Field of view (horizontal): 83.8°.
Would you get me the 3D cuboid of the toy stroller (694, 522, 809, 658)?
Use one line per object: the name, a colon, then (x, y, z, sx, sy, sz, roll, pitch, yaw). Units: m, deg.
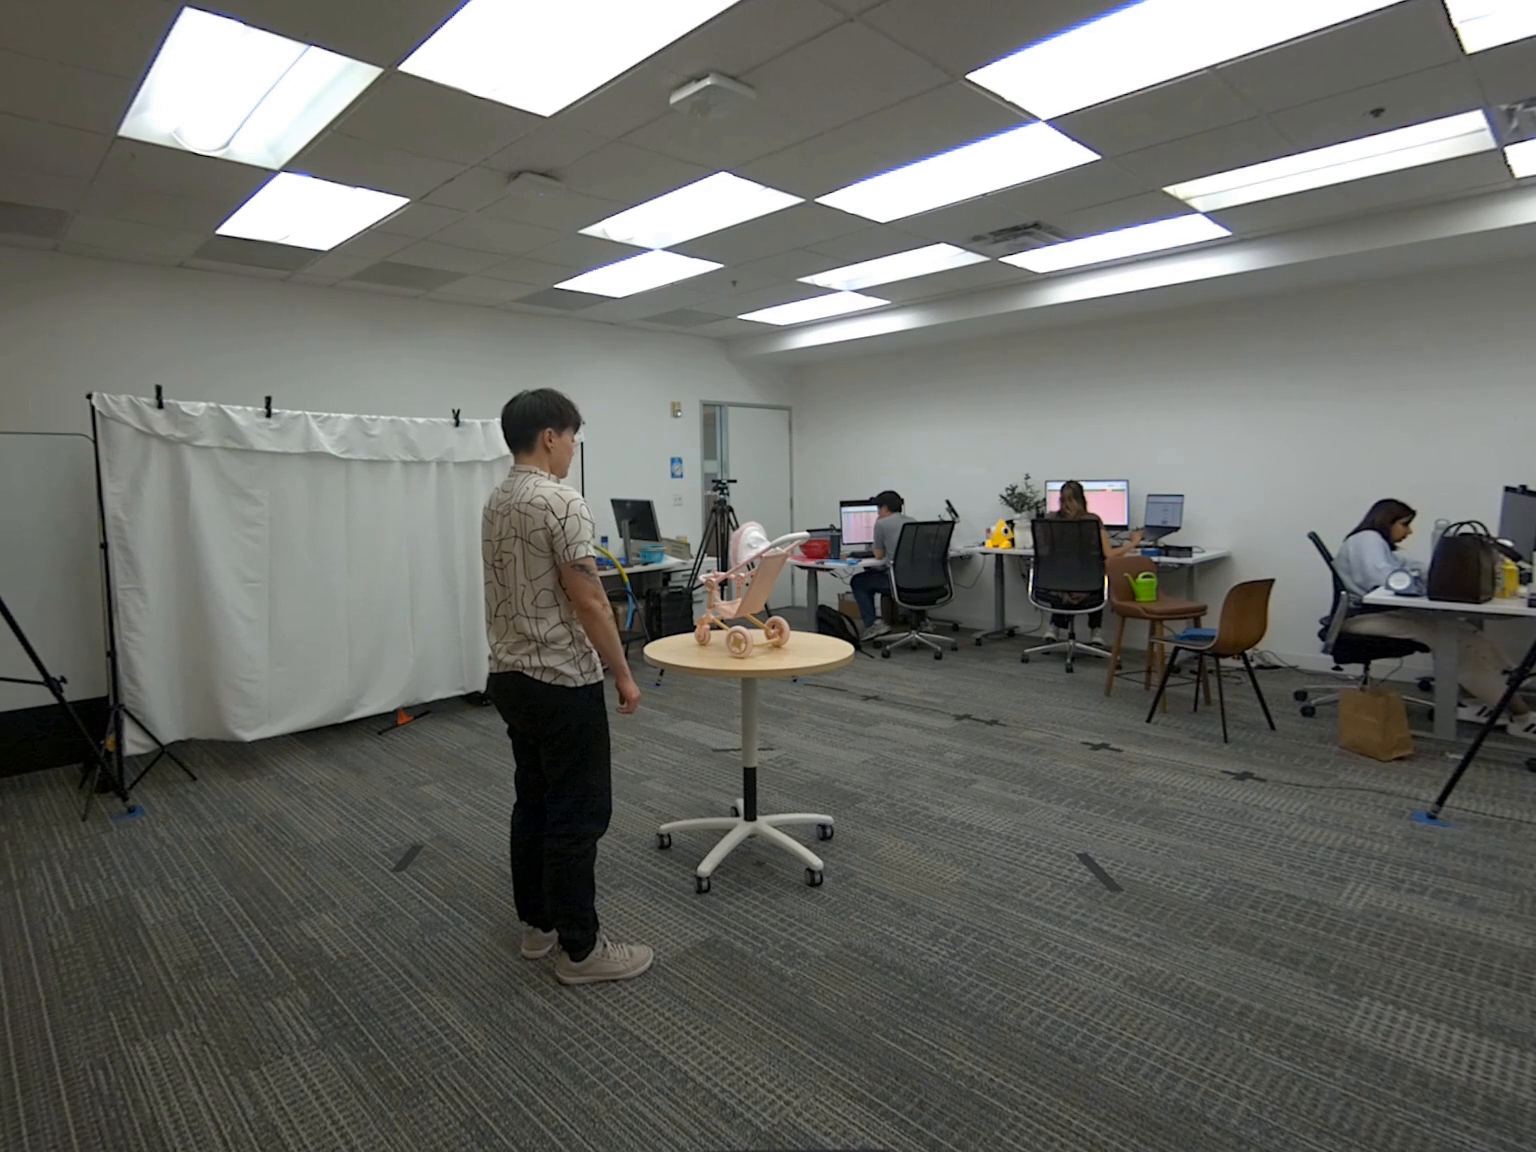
toy stroller: (-0.081, 0.044, 3.064, 0.353, 0.530, 0.274, 24, 17, 34)
